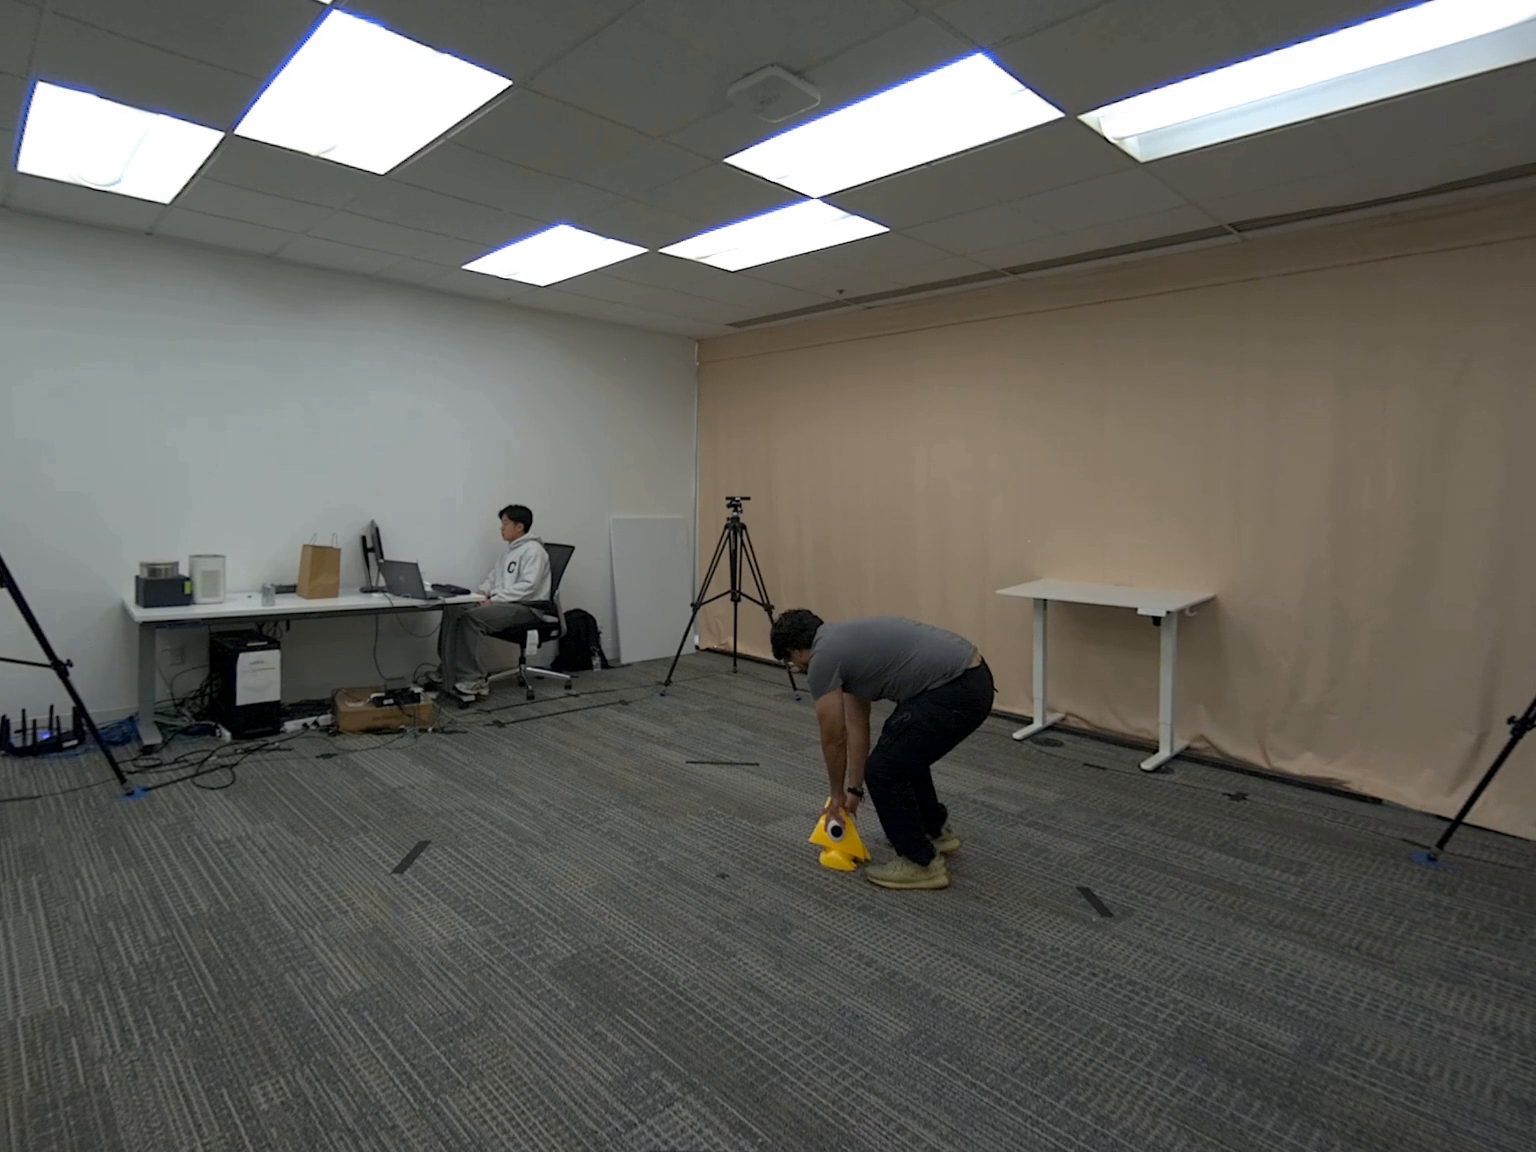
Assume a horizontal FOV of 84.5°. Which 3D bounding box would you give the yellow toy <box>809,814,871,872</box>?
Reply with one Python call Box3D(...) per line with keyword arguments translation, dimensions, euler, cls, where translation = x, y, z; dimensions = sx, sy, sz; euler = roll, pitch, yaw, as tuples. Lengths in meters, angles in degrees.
Box3D(translation=(0.285, 0.989, 3.274), dimensions=(0.198, 0.230, 0.200), euler=(4, 3, 37), cls="yellow toy")
